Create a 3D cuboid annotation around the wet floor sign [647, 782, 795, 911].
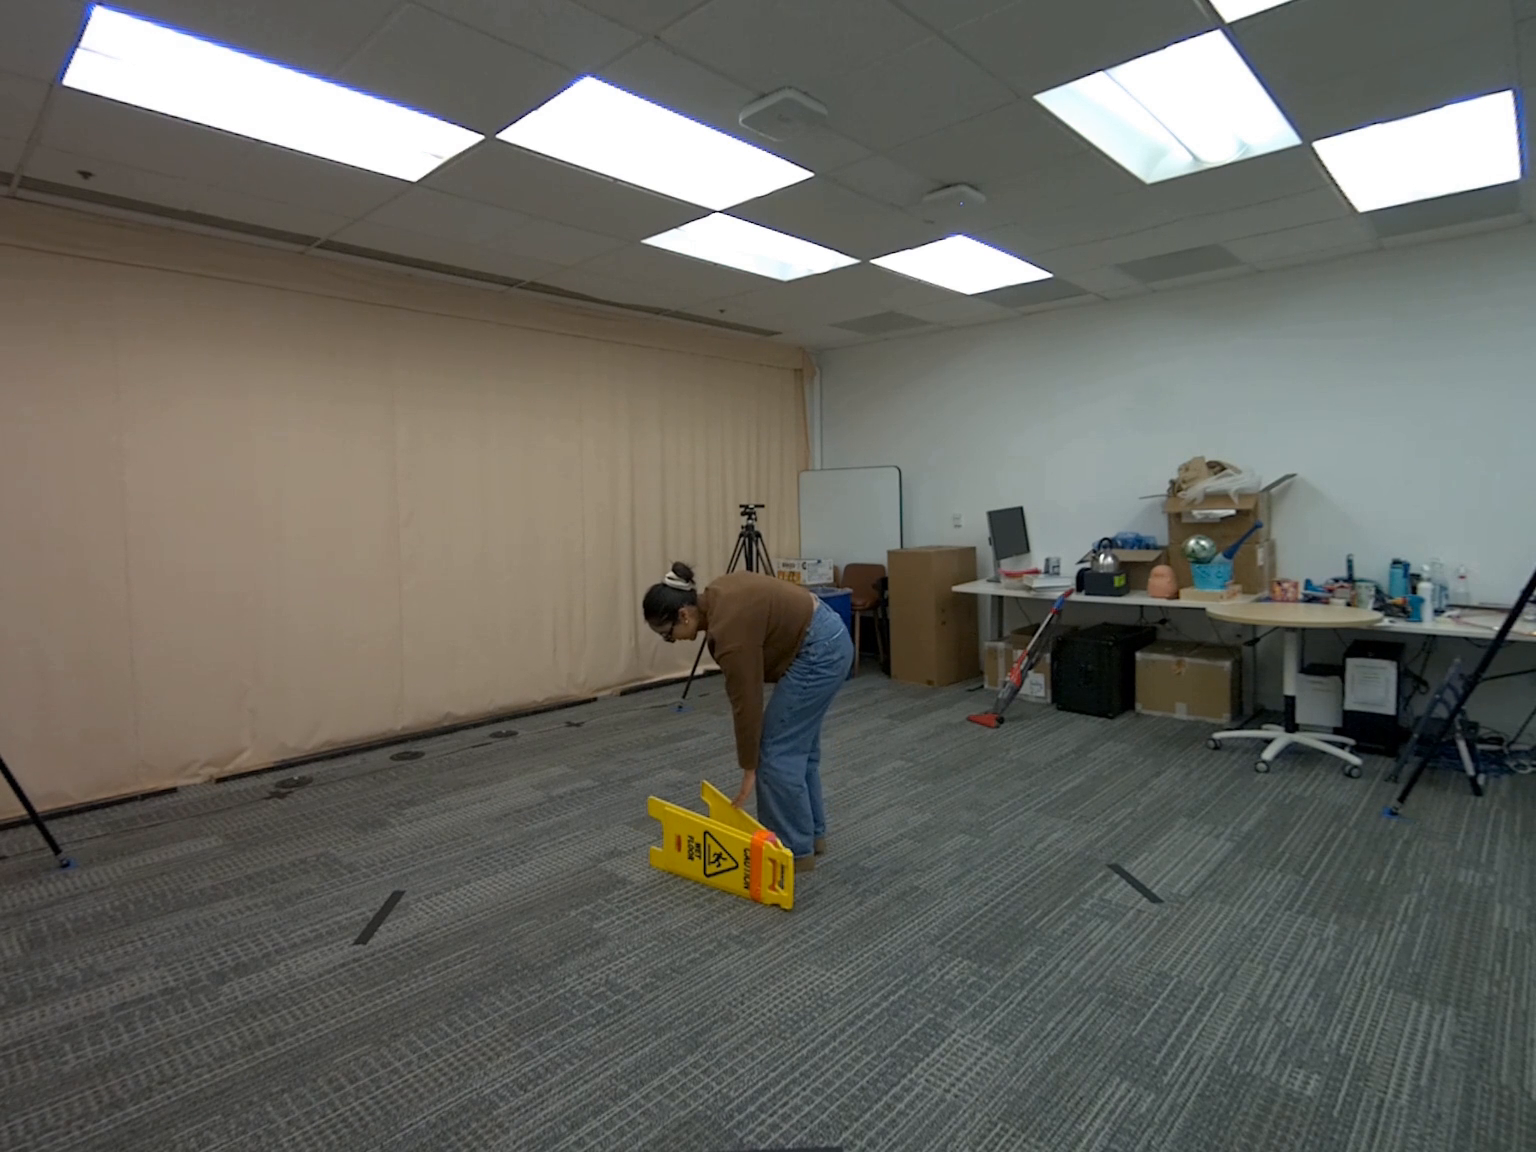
[{"bbox_3d":[-0.138,1.006,3.104,0.281,0.281,0.668,-6,9,-42],"label":"wet floor sign"}]
